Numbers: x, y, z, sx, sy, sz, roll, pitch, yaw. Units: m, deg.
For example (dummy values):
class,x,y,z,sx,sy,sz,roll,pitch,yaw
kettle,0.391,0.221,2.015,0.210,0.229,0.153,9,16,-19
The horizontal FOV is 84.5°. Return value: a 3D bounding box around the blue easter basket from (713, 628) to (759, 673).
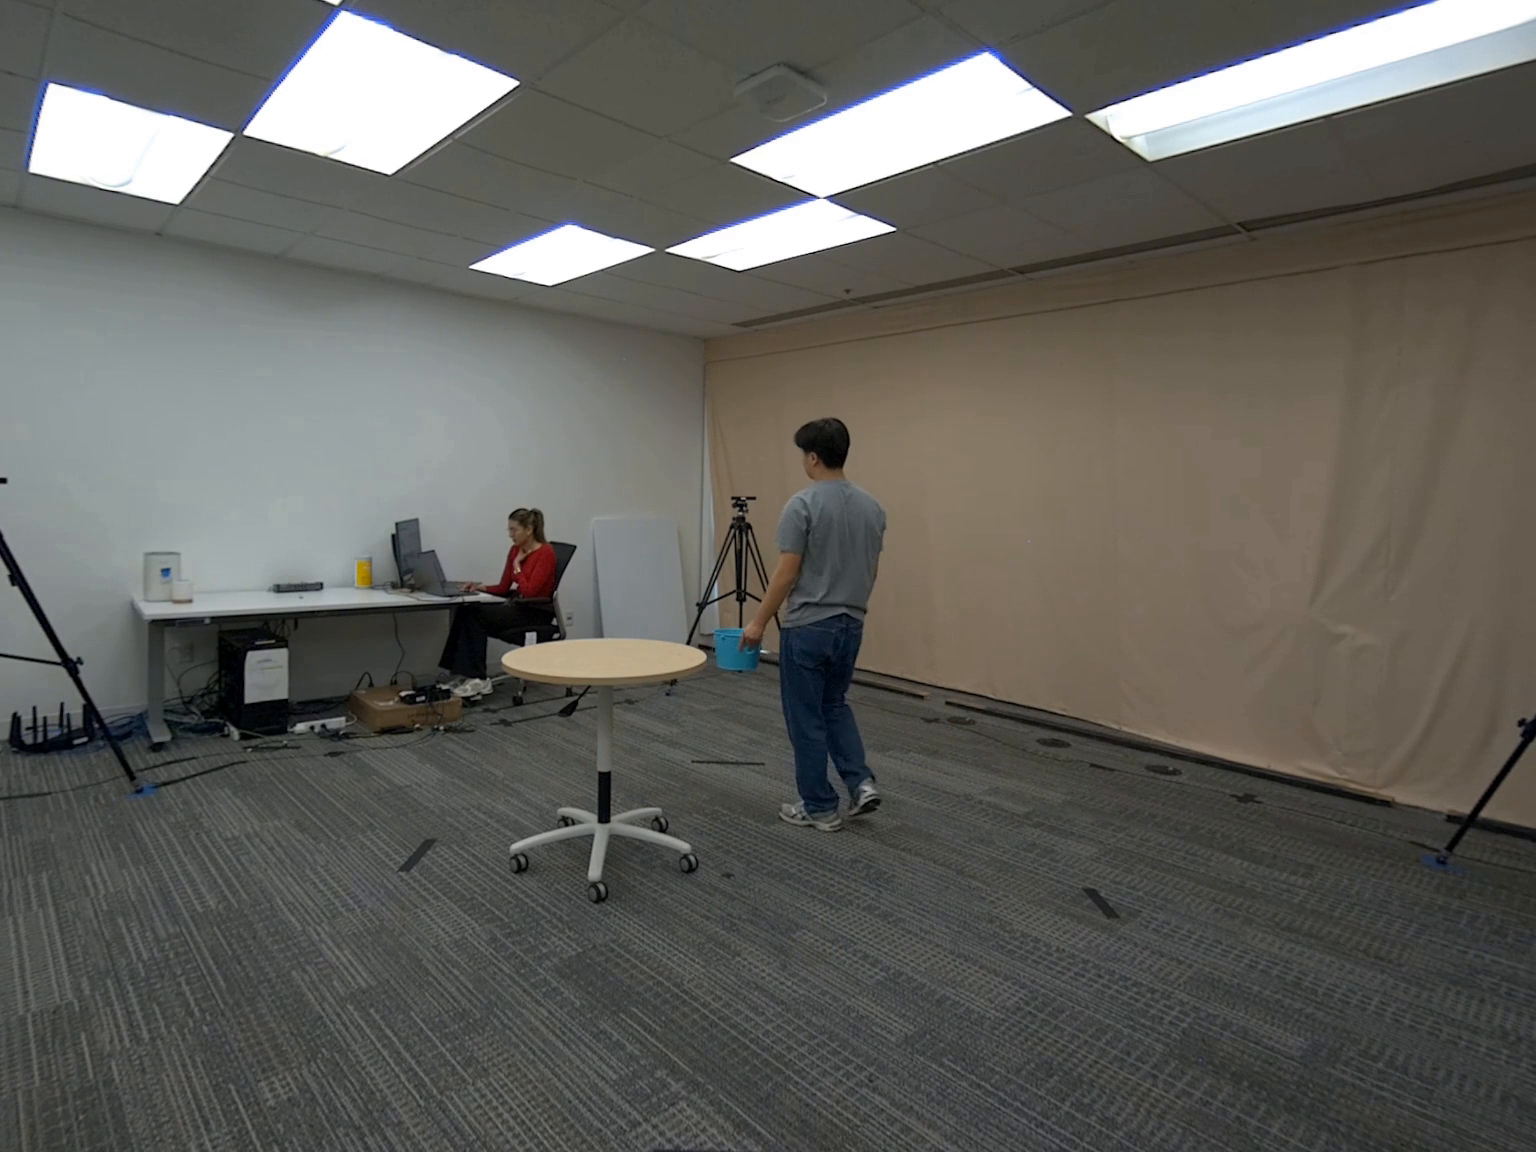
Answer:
class,x,y,z,sx,sy,sz,roll,pitch,yaw
blue easter basket,-0.129,0.322,3.705,0.243,0.155,0.244,3,4,-2
